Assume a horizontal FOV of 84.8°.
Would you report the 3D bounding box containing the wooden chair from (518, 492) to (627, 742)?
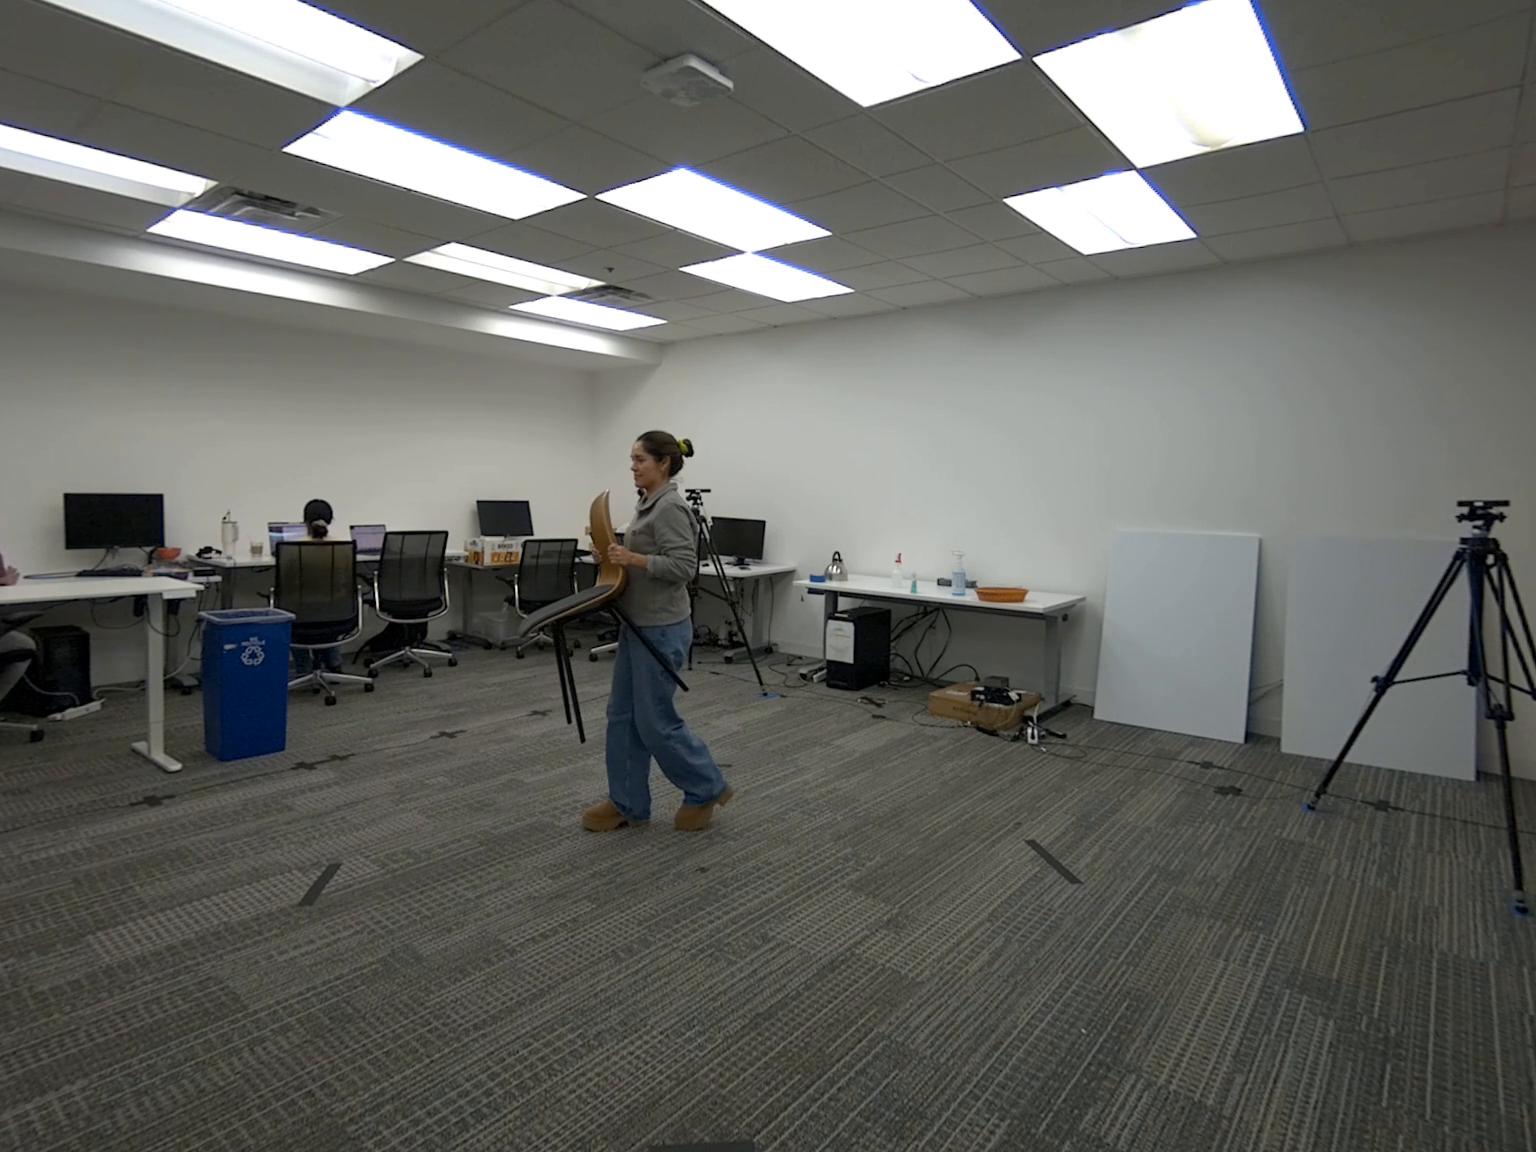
[{"bbox_3d":[-0.751,0.154,3.394,0.517,0.873,0.486,-20,5,-19],"label":"wooden chair"}]
